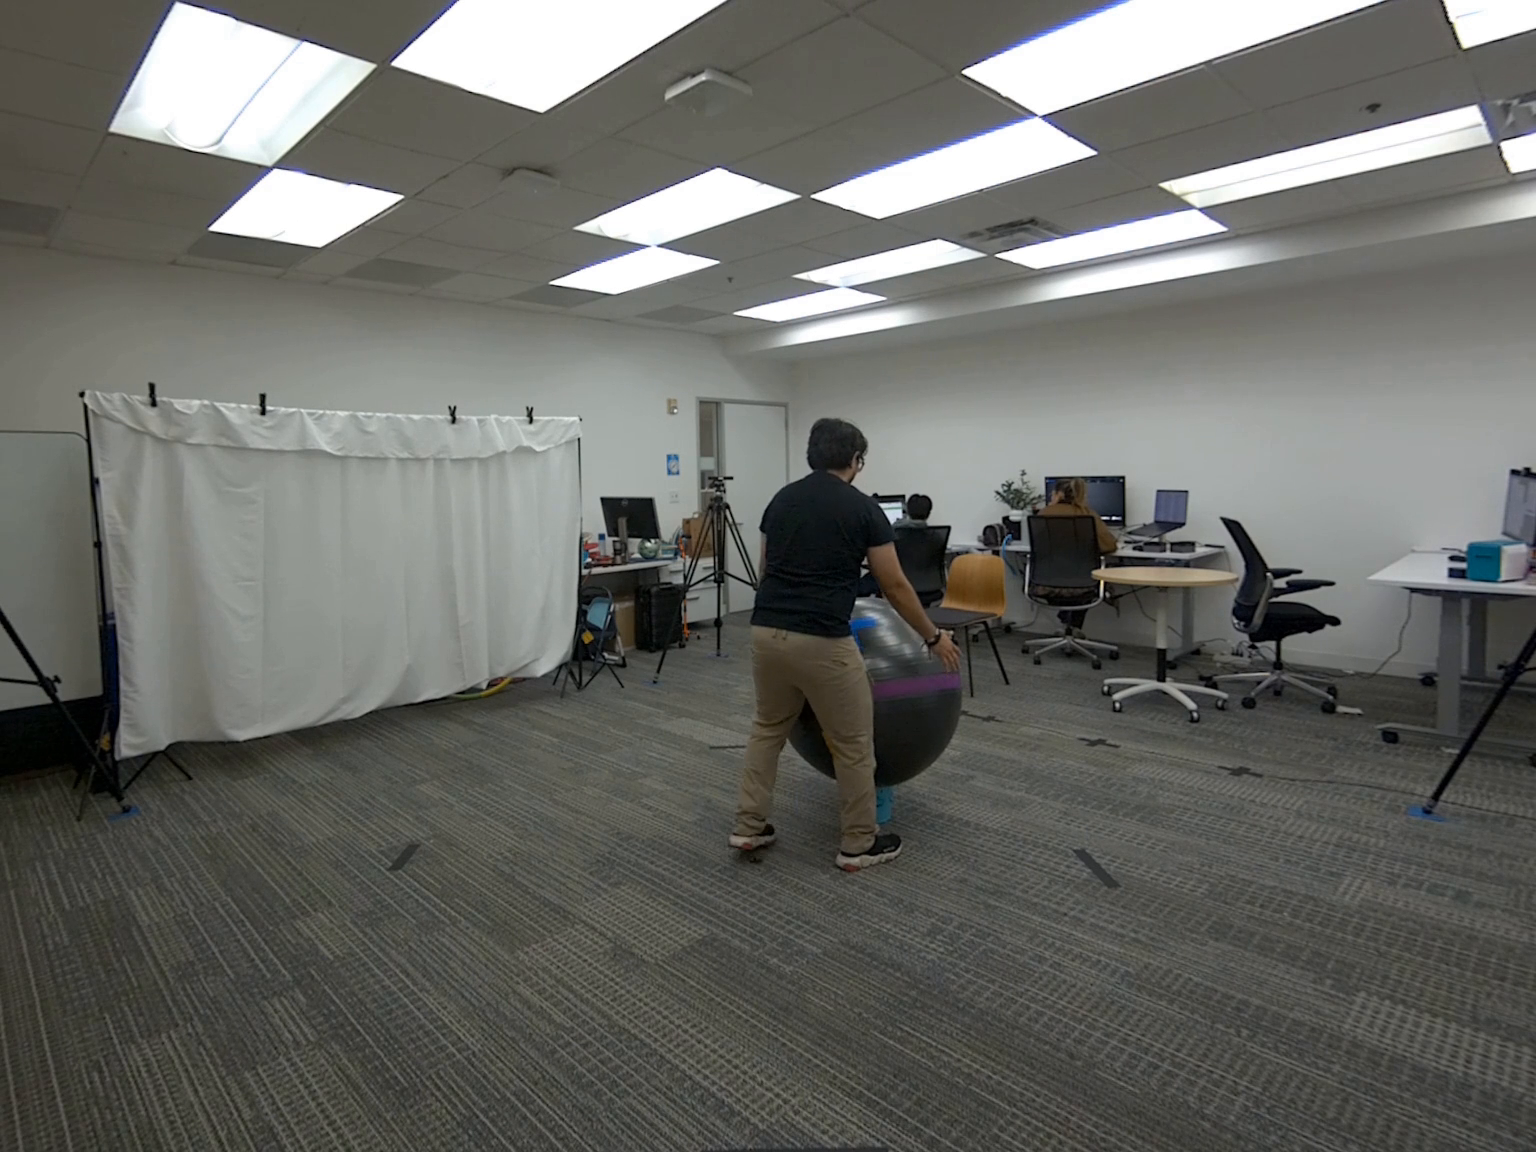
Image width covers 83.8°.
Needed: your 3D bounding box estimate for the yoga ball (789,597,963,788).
[{"bbox_3d":[0.410,0.481,3.516,0.757,0.755,0.762,-1,5,-2],"label":"yoga ball"}]
